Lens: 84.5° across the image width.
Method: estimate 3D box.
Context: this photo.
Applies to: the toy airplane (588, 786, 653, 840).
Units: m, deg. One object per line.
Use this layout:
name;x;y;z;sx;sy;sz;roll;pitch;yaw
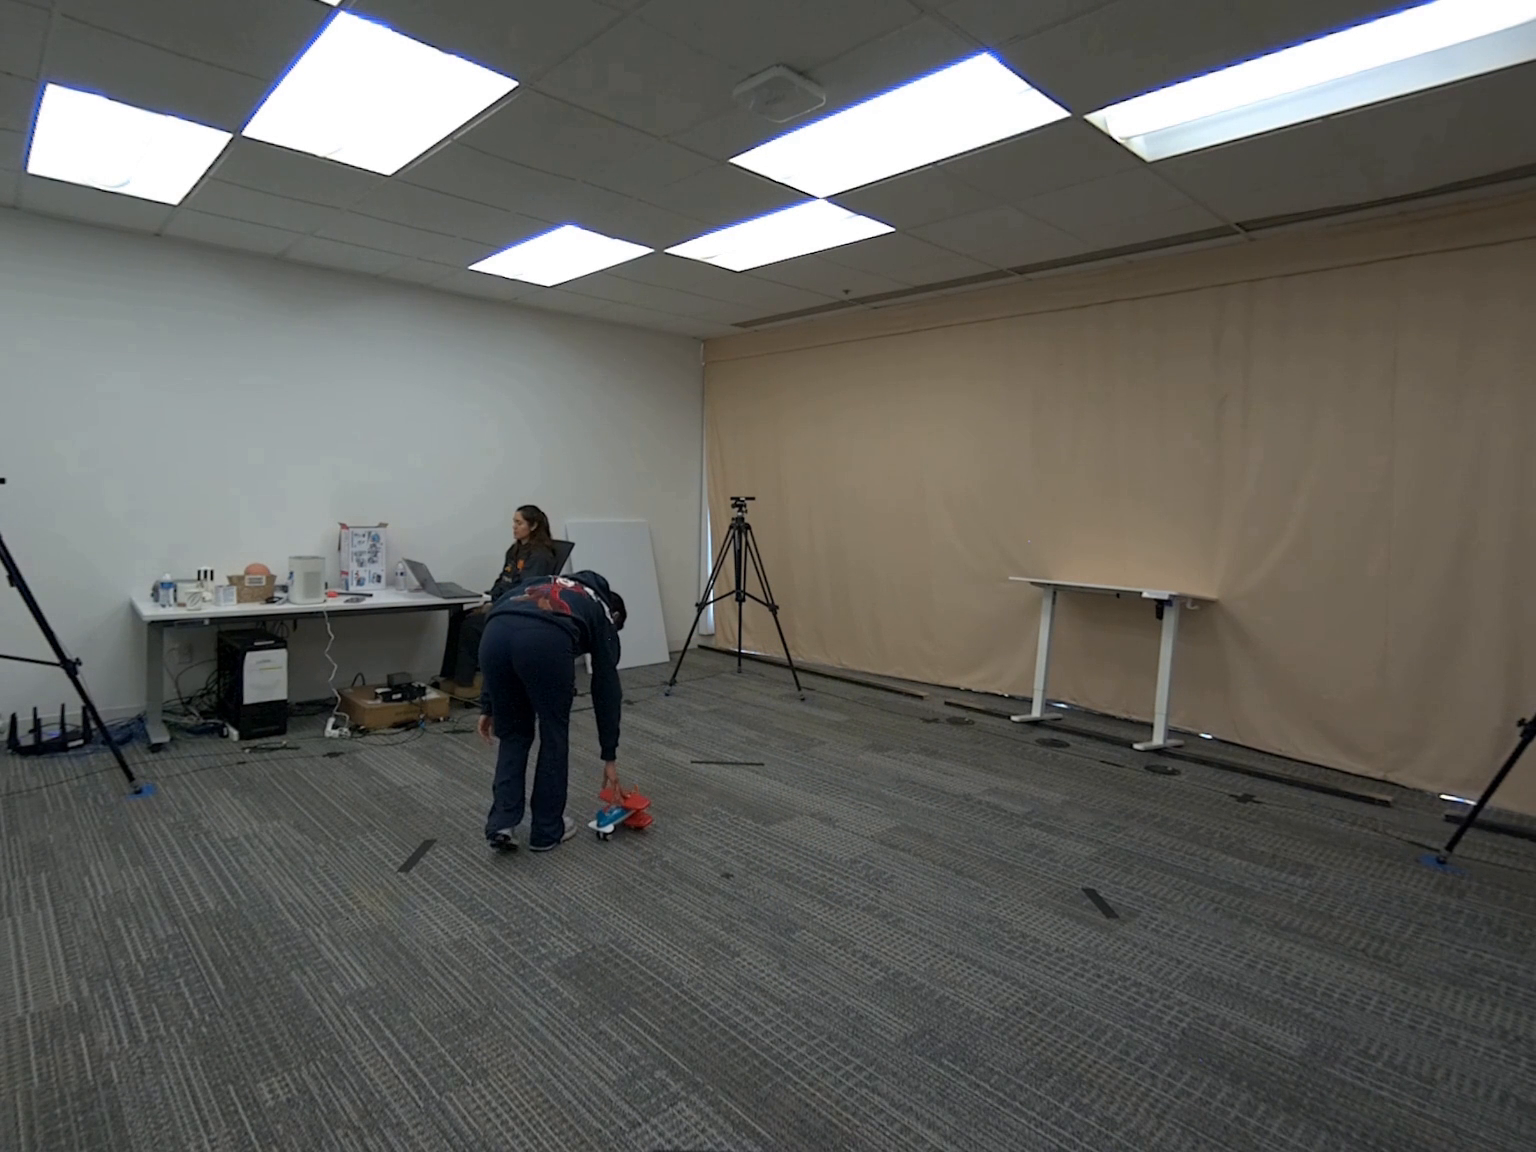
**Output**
toy airplane;-0.602;0.991;3.467;0.252;0.156;0.259;2;3;3
